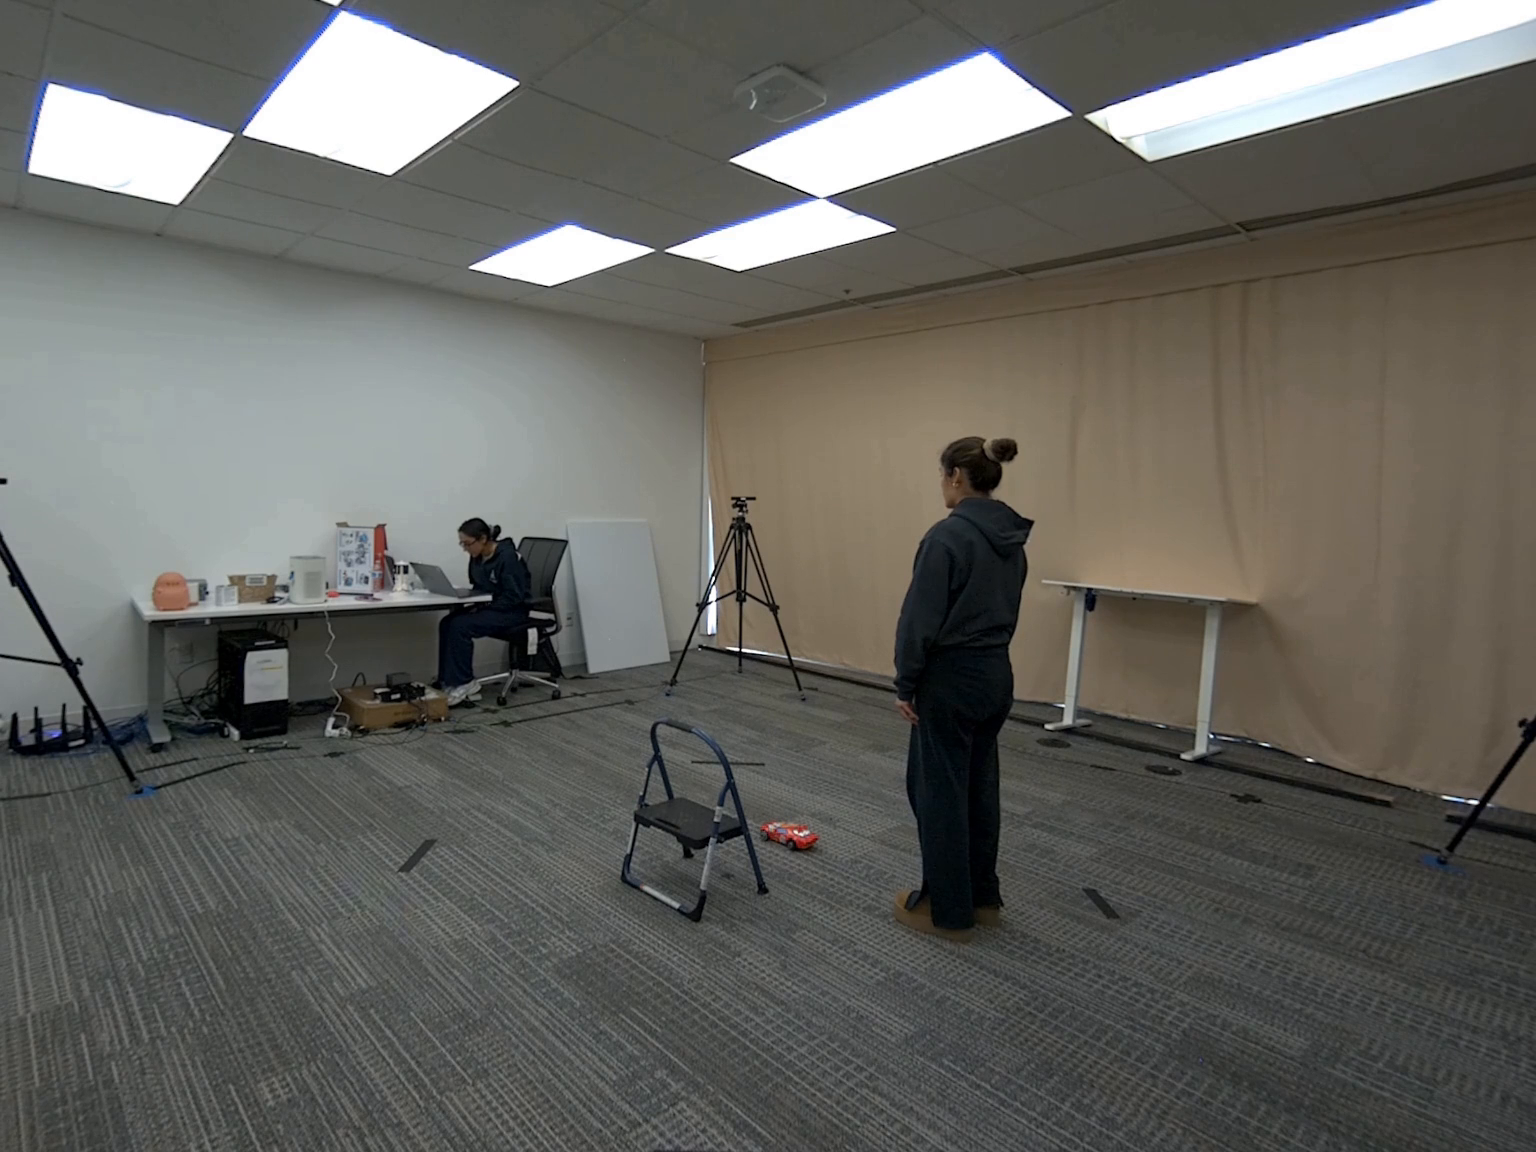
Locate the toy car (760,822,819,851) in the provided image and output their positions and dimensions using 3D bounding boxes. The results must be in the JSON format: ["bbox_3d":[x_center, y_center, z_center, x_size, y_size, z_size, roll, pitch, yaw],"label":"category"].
[{"bbox_3d":[0.081,1.054,3.427,0.259,0.083,0.127,-9,-4,43],"label":"toy car"}]
